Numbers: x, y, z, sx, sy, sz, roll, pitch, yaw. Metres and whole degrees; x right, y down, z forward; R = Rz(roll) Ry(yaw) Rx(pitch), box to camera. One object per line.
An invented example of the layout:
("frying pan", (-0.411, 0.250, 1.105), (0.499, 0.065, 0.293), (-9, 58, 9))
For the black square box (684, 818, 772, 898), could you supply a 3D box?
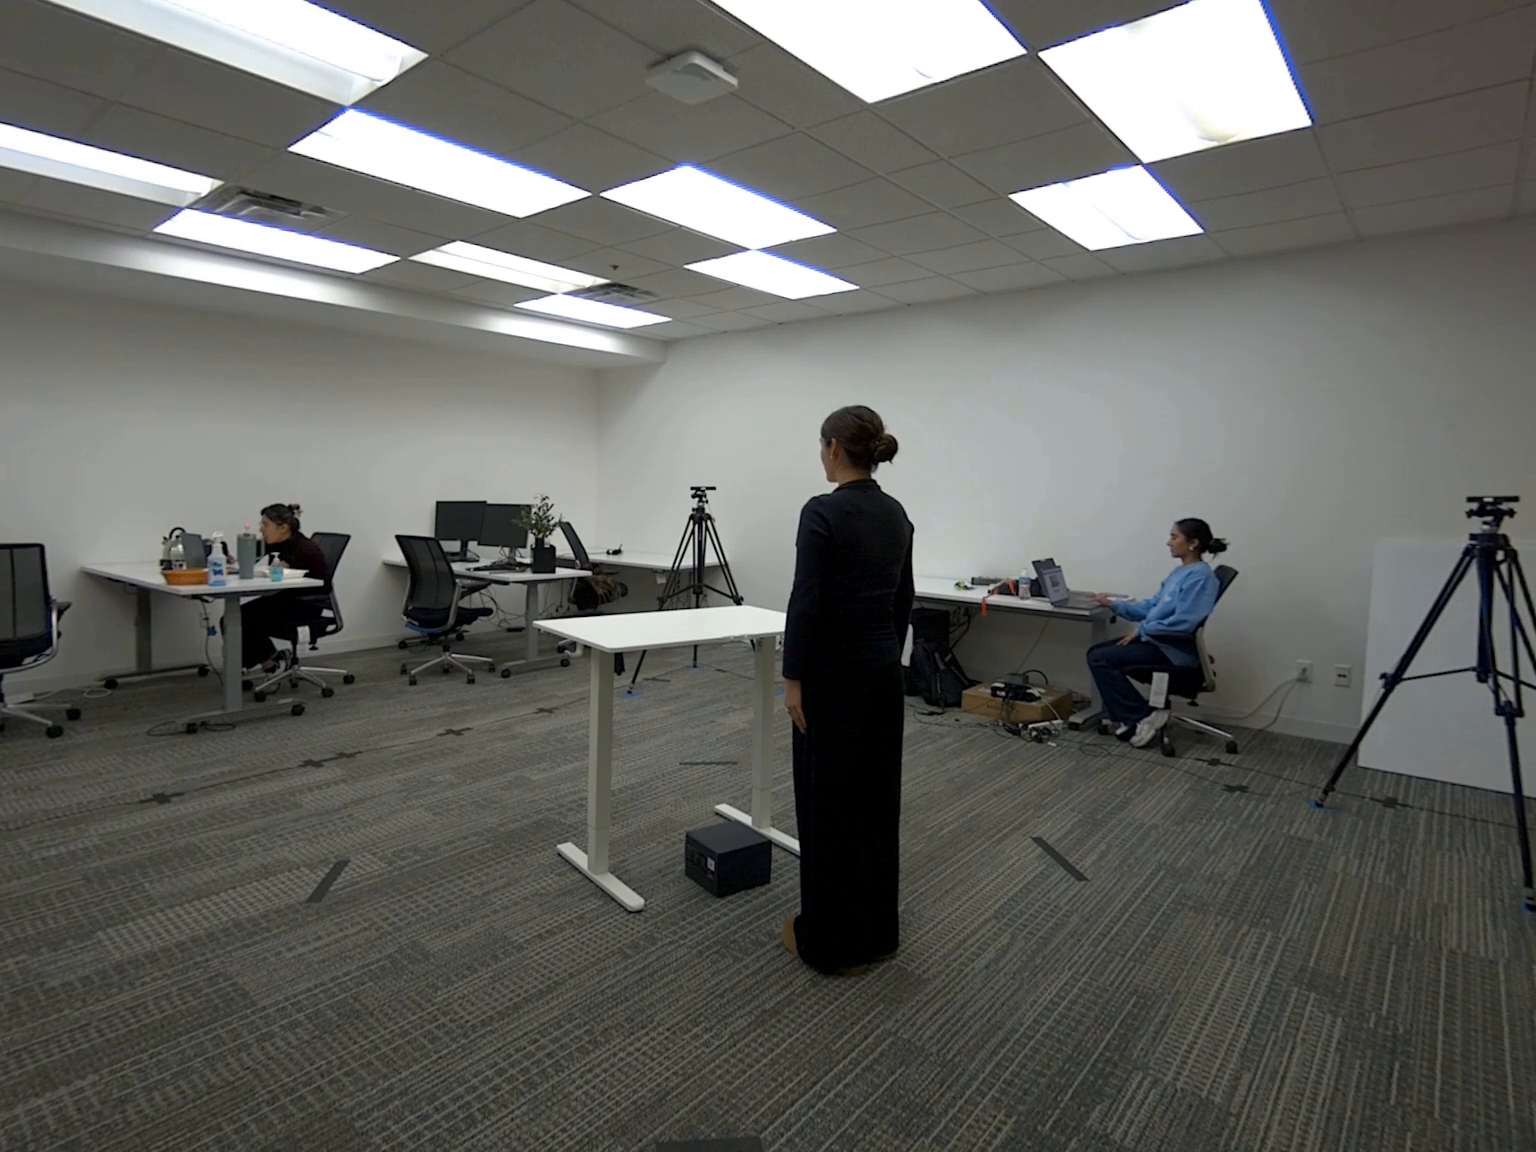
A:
("black square box", (-0.154, 0.992, 3.016), (0.221, 0.155, 0.224), (-2, 5, -36))
